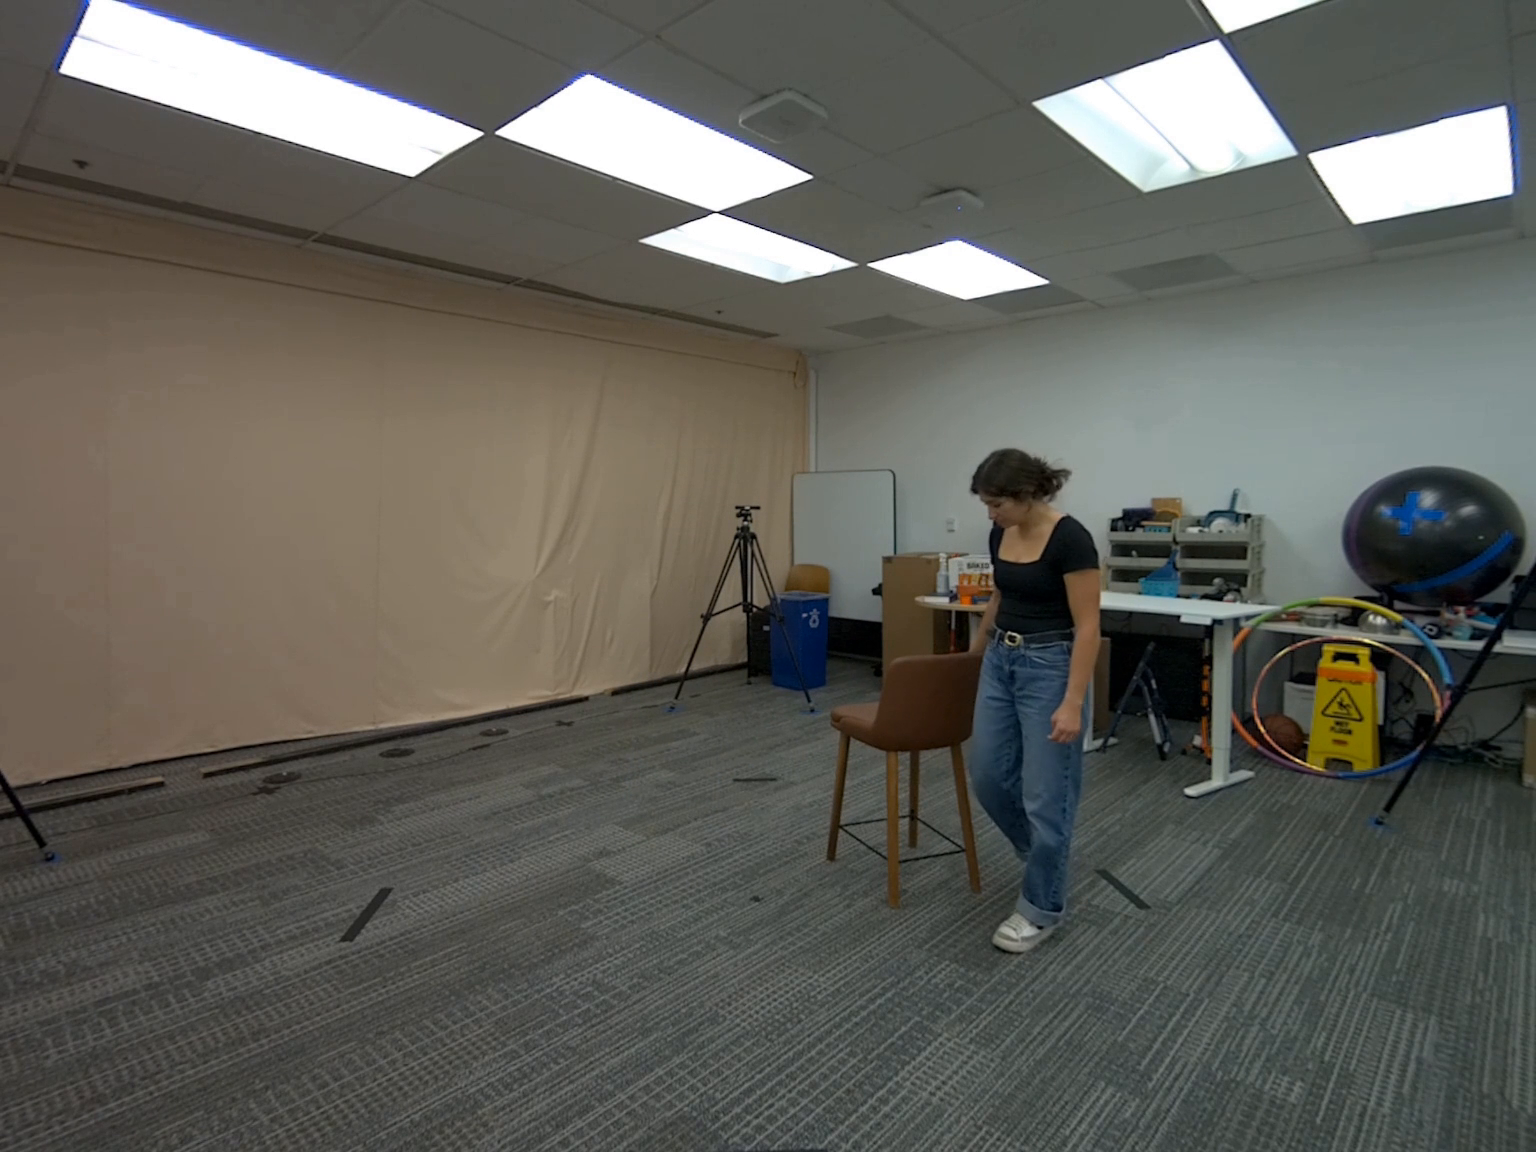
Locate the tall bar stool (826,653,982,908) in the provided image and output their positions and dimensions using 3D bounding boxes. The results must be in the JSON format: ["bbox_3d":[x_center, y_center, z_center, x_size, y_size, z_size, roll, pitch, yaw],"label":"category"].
[{"bbox_3d":[0.513,0.693,3.149,0.446,0.887,0.479,-1,5,-23],"label":"tall bar stool"}]
